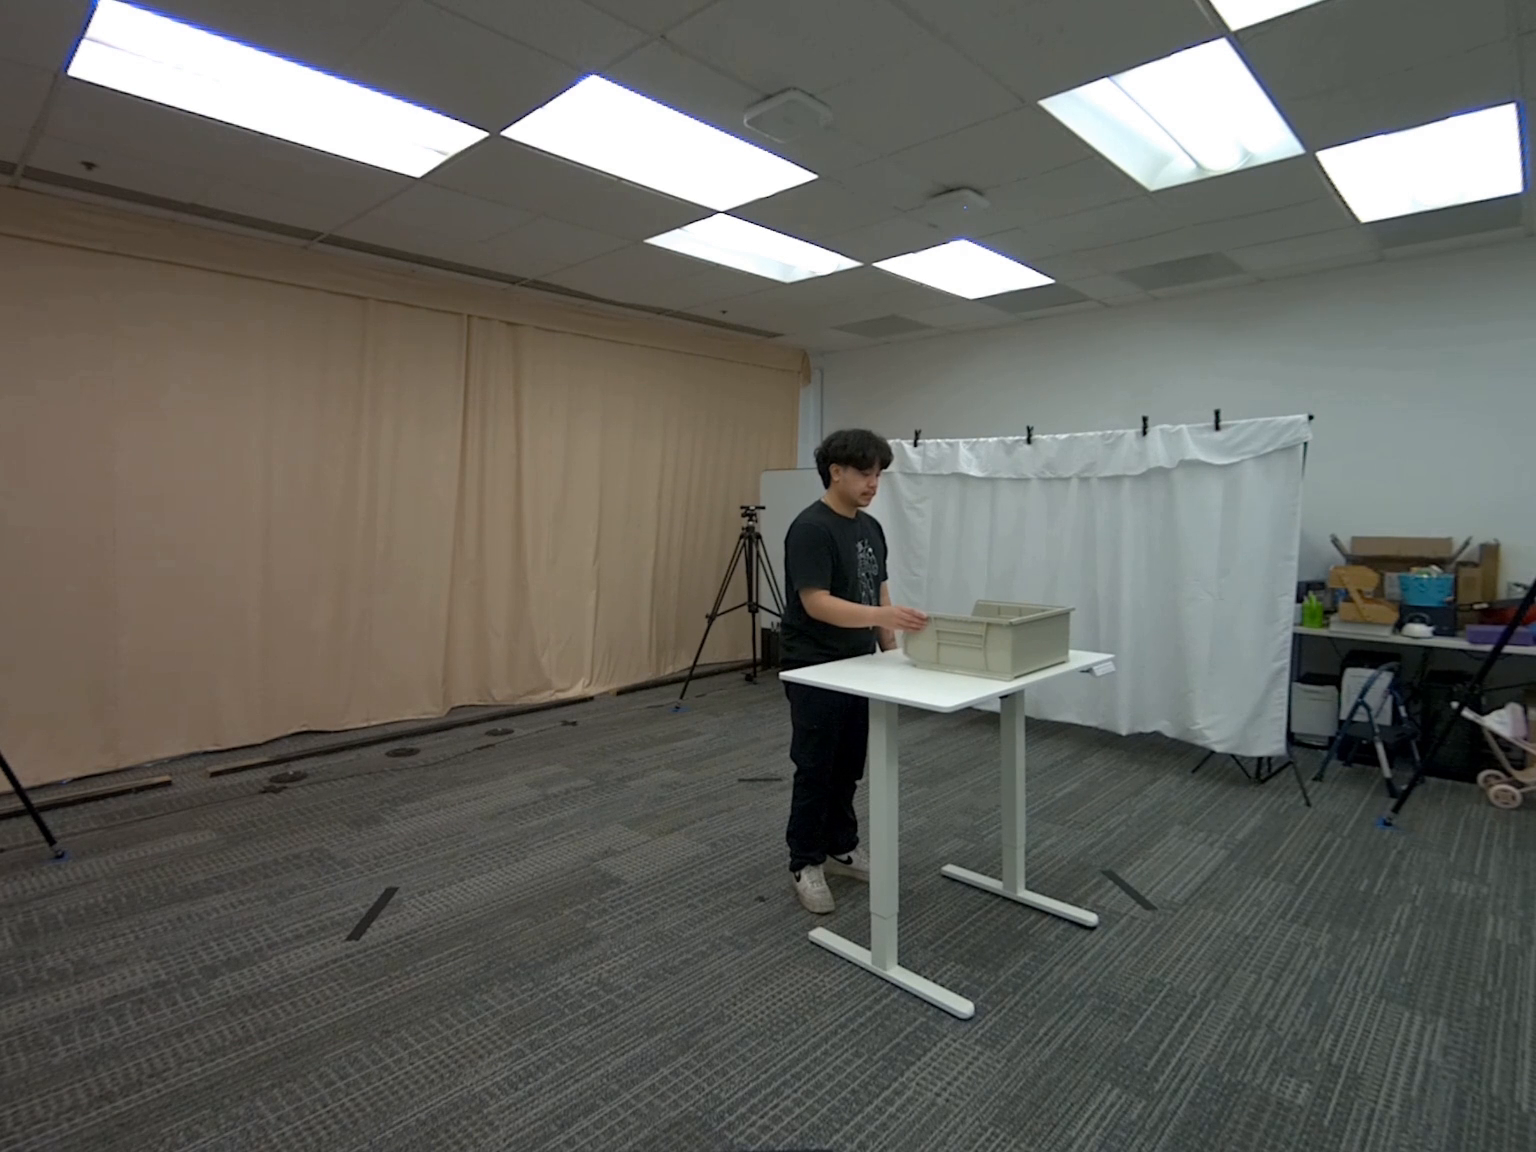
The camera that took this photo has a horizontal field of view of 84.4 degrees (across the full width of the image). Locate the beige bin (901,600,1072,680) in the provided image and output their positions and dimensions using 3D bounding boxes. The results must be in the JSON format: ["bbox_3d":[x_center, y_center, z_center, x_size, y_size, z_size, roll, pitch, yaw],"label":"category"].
[{"bbox_3d":[0.709,0.198,2.683,0.390,0.188,0.409,5,7,44],"label":"beige bin"}]
